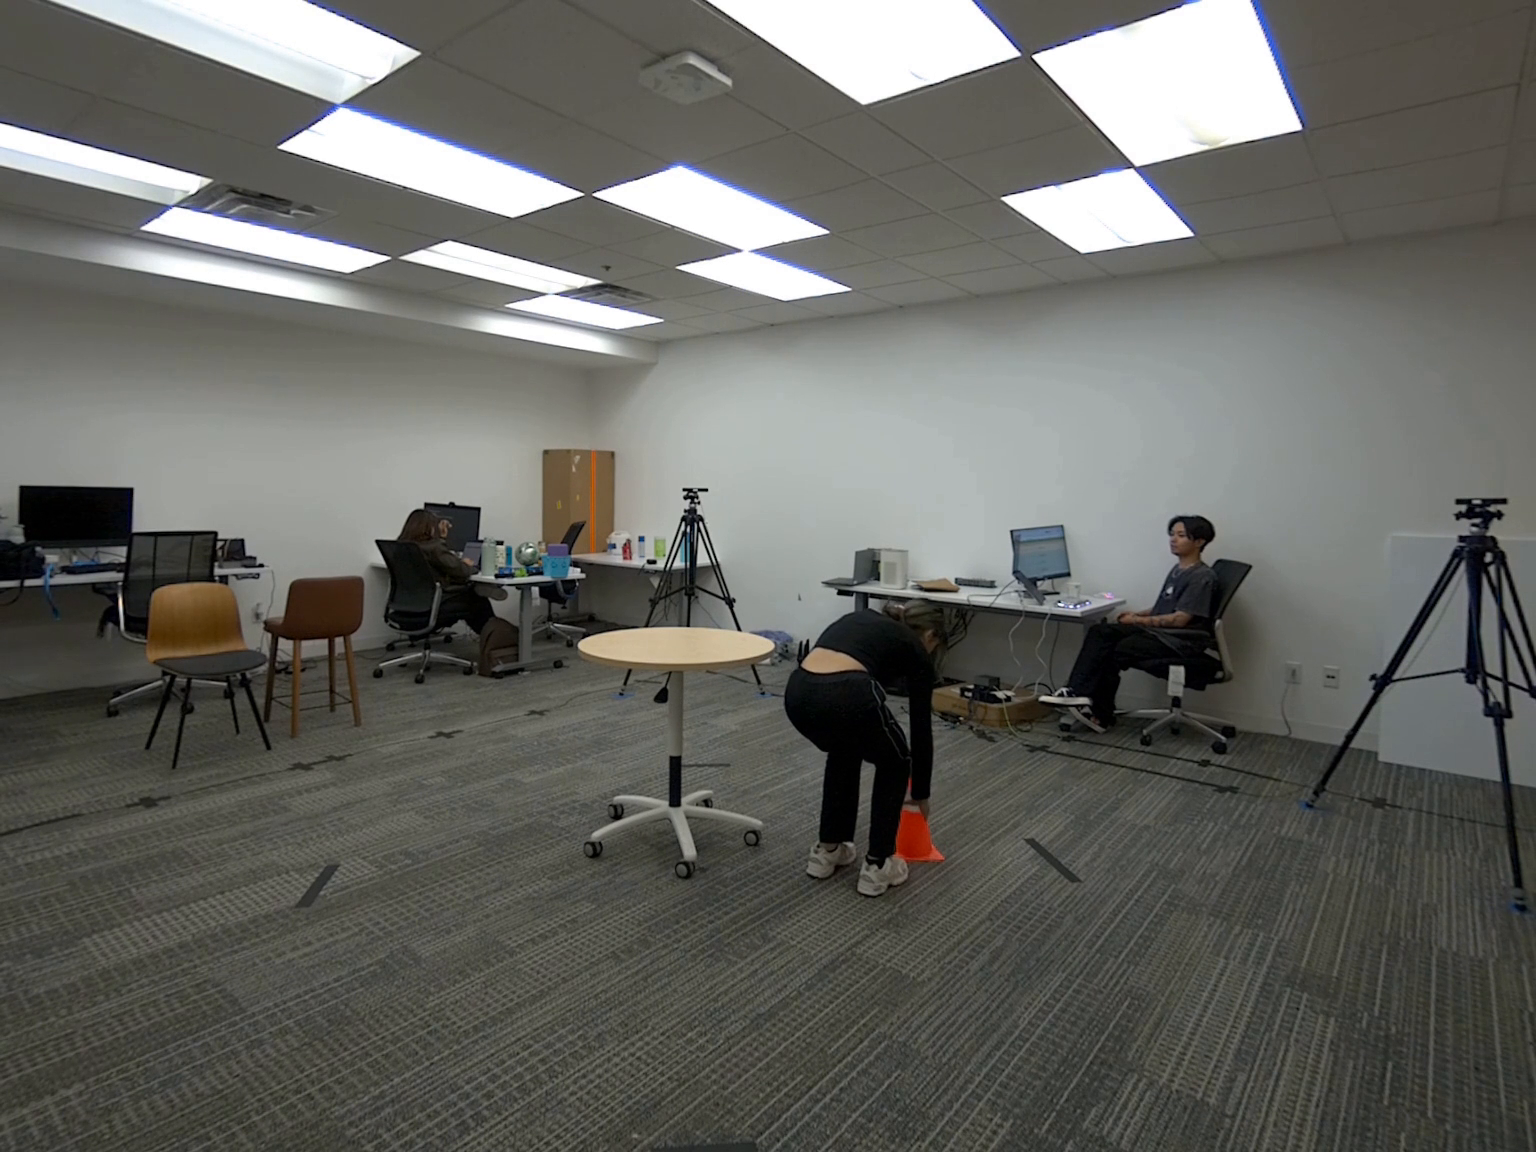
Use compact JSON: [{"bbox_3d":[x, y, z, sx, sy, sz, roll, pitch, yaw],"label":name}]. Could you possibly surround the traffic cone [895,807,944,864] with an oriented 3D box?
[{"bbox_3d":[0.545,0.878,3.323,0.204,0.383,0.205,-3,2,-7],"label":"traffic cone"}]
